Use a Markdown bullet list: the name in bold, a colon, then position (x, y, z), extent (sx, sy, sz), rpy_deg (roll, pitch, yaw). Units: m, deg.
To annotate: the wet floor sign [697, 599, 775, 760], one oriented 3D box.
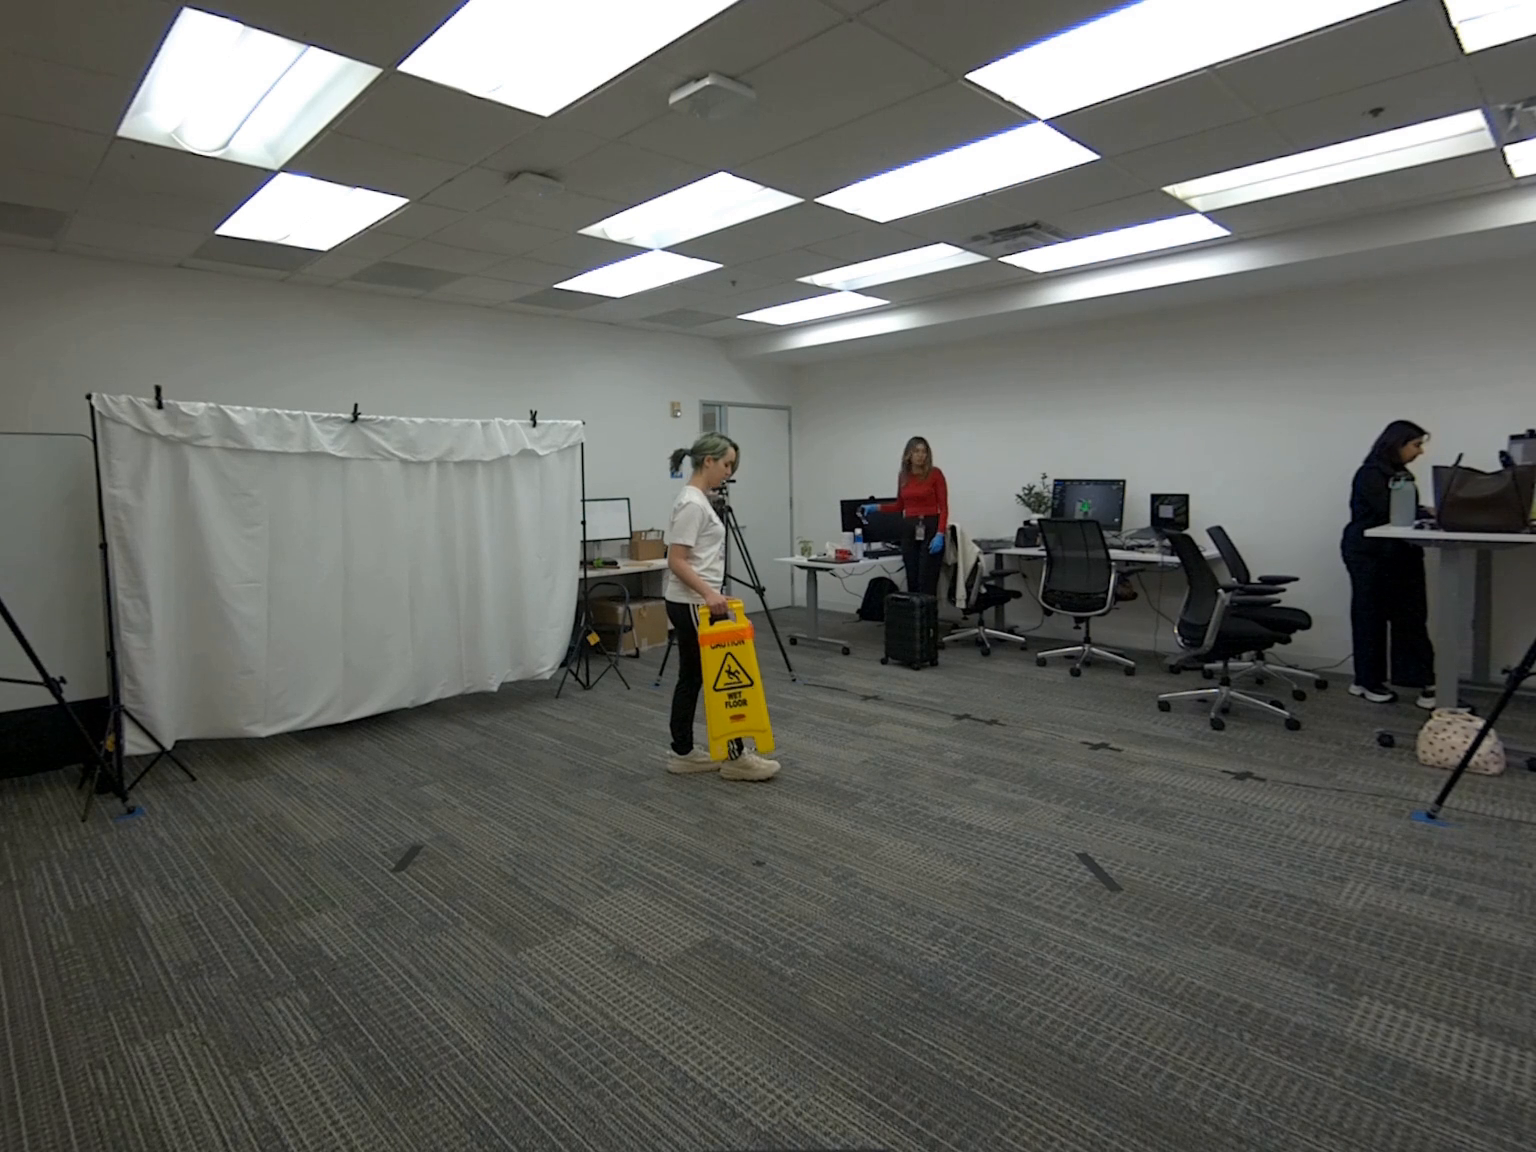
- **wet floor sign**: position (-0.163, 0.439, 3.769), extent (0.281, 0.644, 0.292), rpy_deg (-9, 3, -5)
